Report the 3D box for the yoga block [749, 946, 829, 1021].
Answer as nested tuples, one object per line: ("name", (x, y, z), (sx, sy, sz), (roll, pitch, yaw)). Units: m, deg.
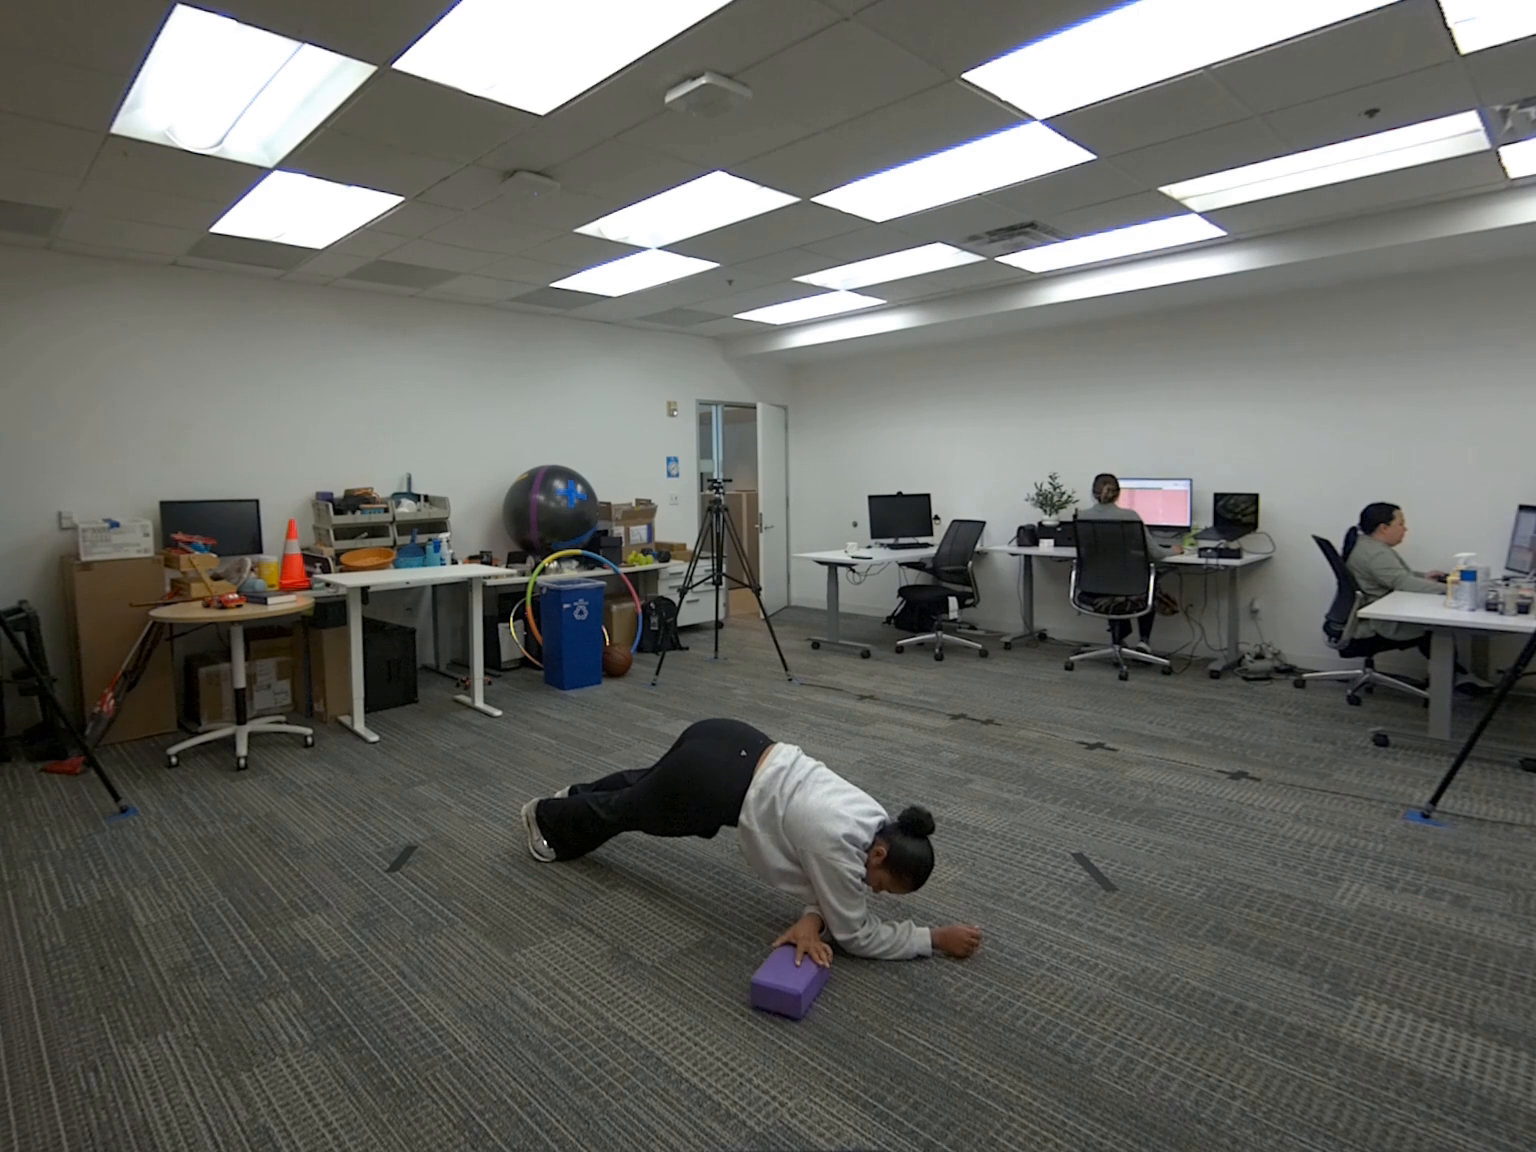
("yoga block", (0.064, 1.096, 2.324), (0.153, 0.076, 0.224), (4, 5, 25))
